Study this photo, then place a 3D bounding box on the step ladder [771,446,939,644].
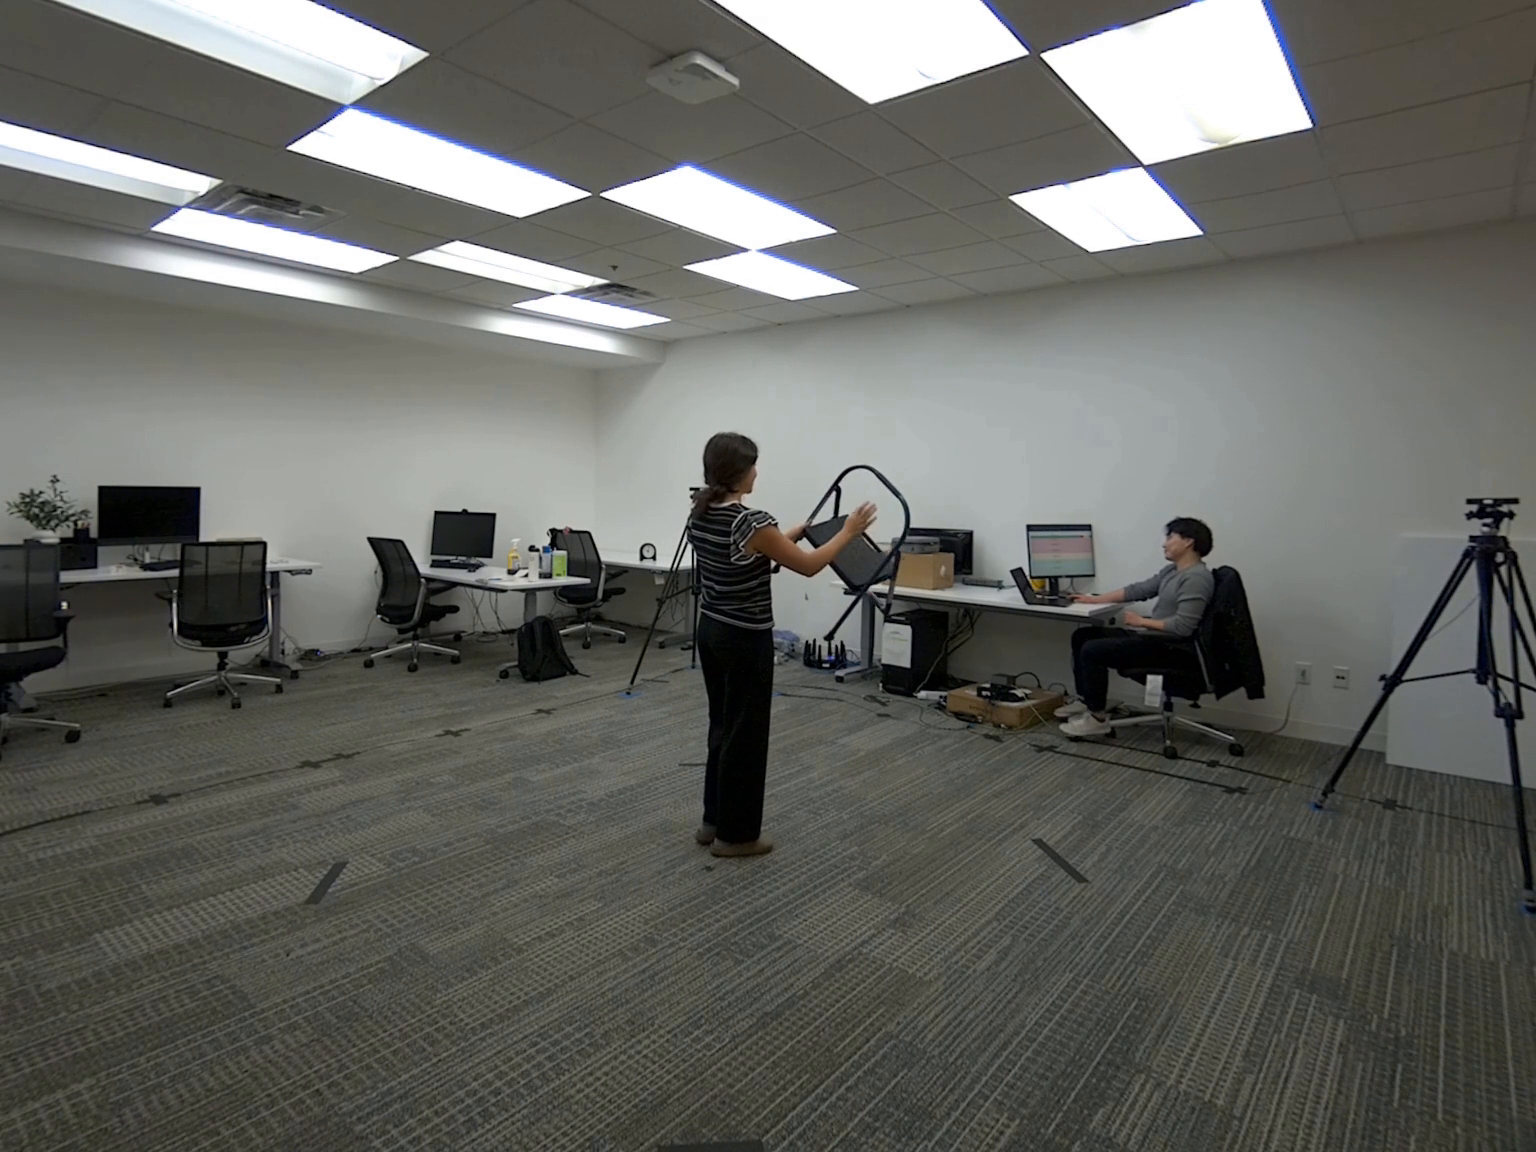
[{"bbox_3d":[0.316,-0.129,3.419,0.343,0.594,0.447,-18,54,-31],"label":"step ladder"}]
